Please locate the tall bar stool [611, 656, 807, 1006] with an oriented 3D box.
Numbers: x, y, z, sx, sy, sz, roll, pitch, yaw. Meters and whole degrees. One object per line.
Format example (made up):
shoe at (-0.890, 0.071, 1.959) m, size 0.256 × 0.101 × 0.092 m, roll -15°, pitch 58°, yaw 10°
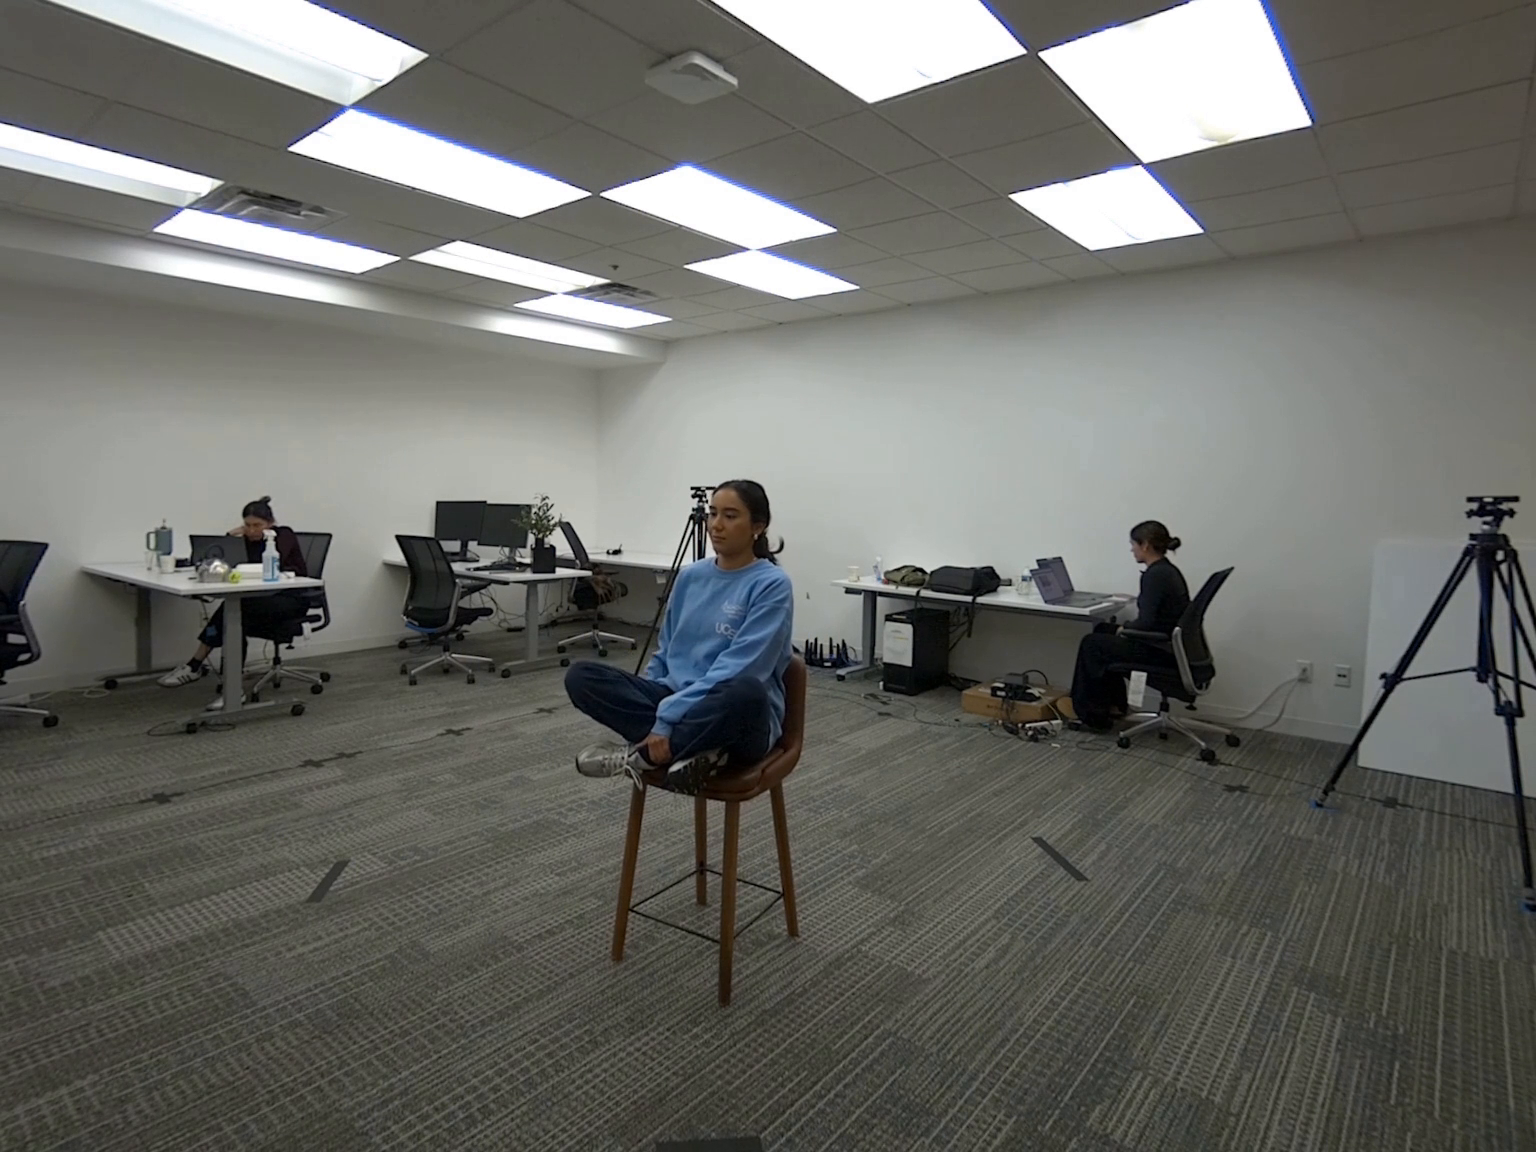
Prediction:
tall bar stool at (-0.170, 0.686, 2.558) m, size 0.470 × 0.889 × 0.454 m, roll 3°, pitch 2°, yaw 32°
